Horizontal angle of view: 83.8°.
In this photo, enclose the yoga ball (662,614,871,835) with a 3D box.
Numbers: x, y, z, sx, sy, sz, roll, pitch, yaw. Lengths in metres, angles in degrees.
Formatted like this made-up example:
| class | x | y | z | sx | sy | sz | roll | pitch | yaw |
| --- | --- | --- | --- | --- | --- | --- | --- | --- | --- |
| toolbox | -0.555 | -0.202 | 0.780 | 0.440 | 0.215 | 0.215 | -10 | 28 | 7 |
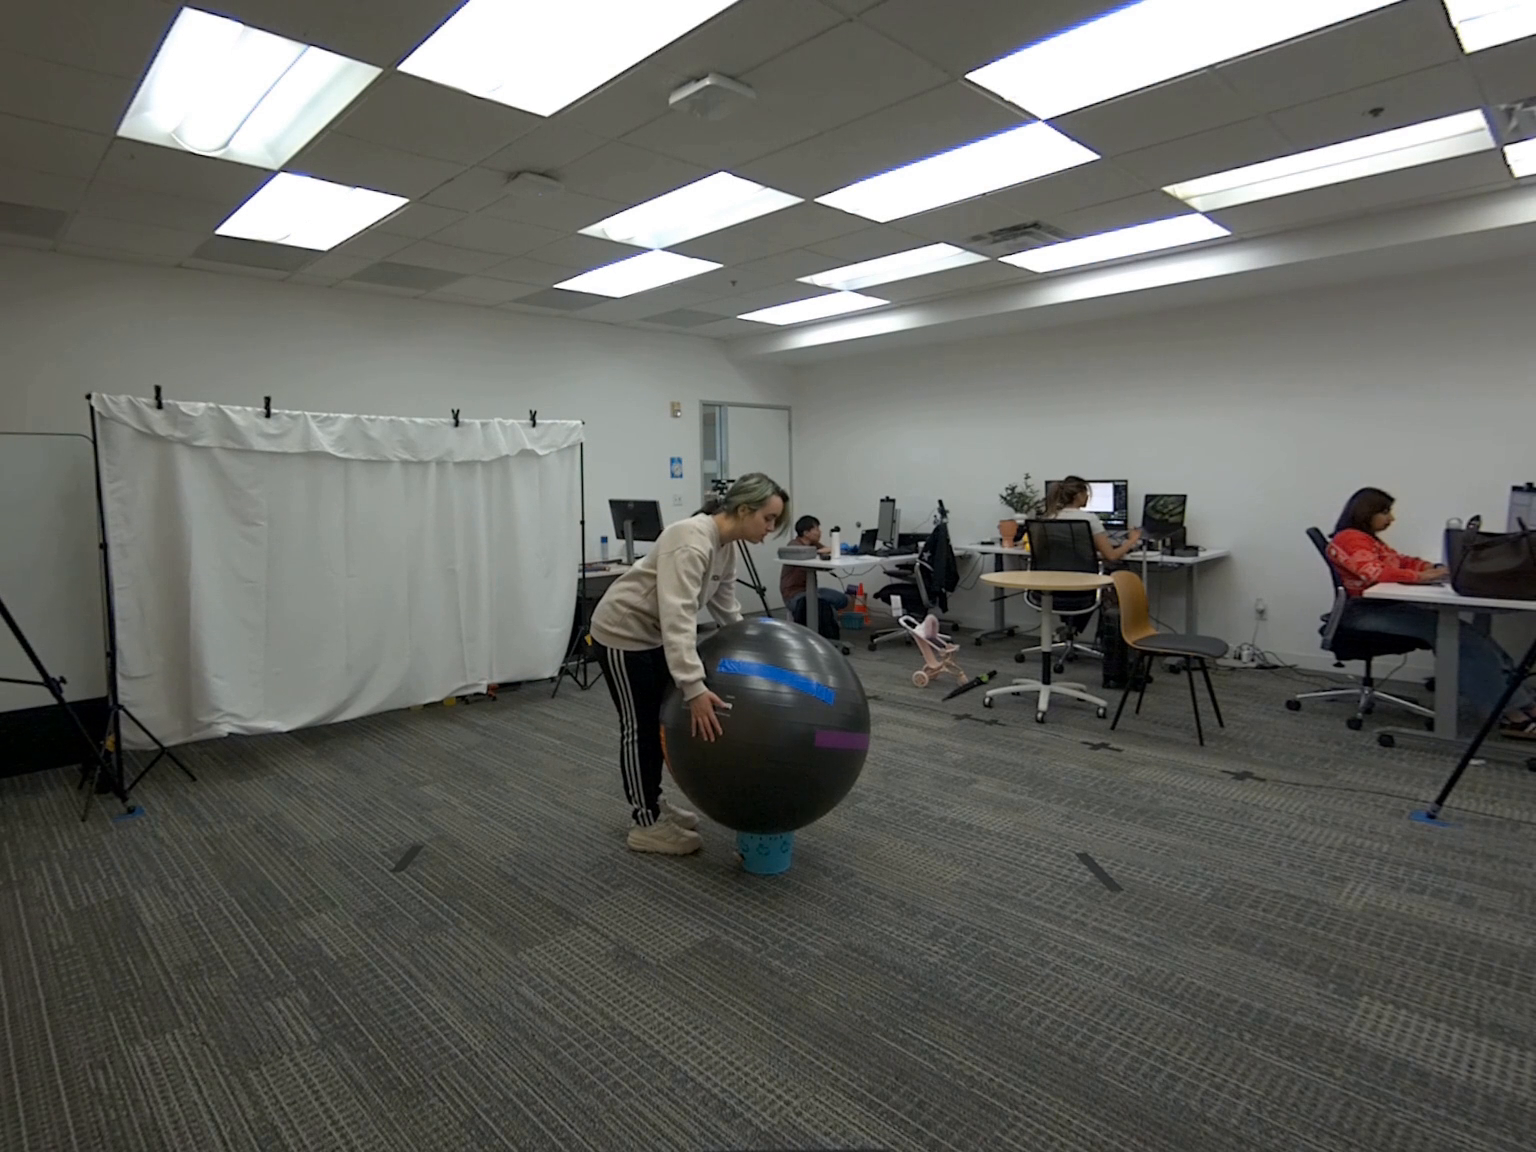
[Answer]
| class | x | y | z | sx | sy | sz | roll | pitch | yaw |
| --- | --- | --- | --- | --- | --- | --- | --- | --- | --- |
| yoga ball | -0.017 | 0.534 | 3.092 | 0.757 | 0.755 | 0.762 | -1 | 5 | -2 |
